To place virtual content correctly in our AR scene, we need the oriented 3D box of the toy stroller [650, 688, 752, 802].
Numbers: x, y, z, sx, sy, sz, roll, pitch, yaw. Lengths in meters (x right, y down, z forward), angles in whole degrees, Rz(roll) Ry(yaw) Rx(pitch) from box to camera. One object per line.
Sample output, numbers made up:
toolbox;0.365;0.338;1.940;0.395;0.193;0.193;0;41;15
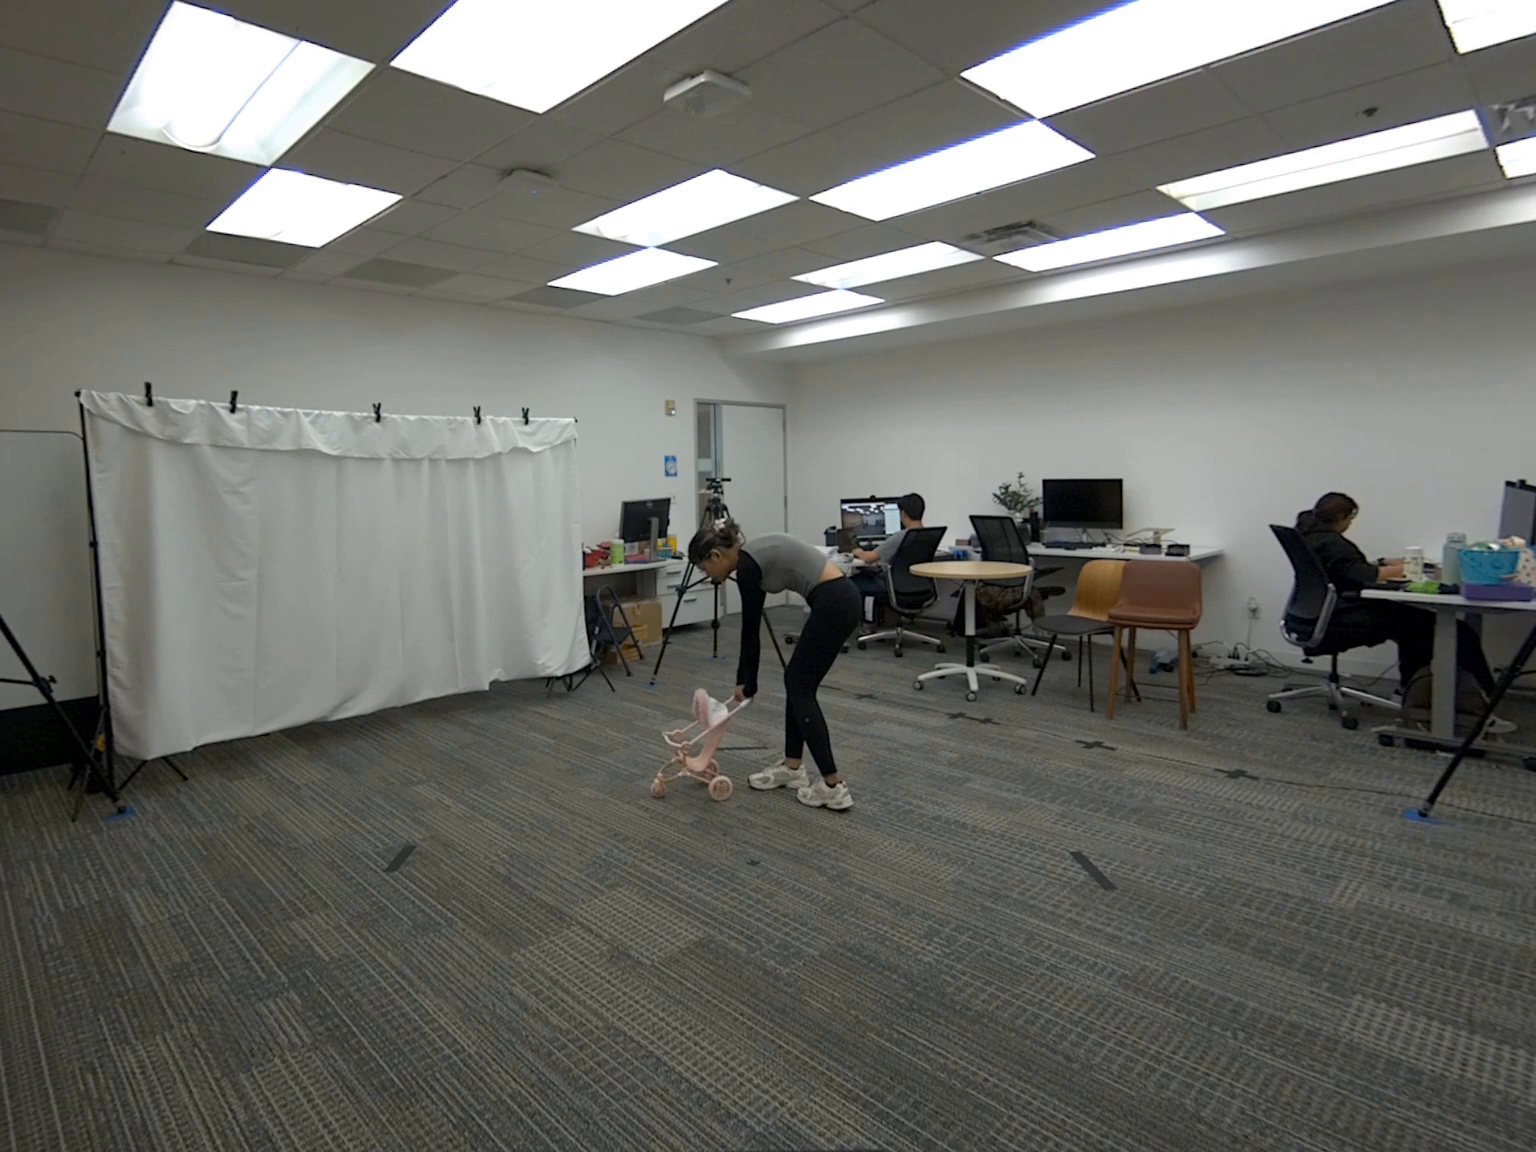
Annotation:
toy stroller;-0.308;0.740;3.806;0.337;0.534;0.285;14;1;-11
